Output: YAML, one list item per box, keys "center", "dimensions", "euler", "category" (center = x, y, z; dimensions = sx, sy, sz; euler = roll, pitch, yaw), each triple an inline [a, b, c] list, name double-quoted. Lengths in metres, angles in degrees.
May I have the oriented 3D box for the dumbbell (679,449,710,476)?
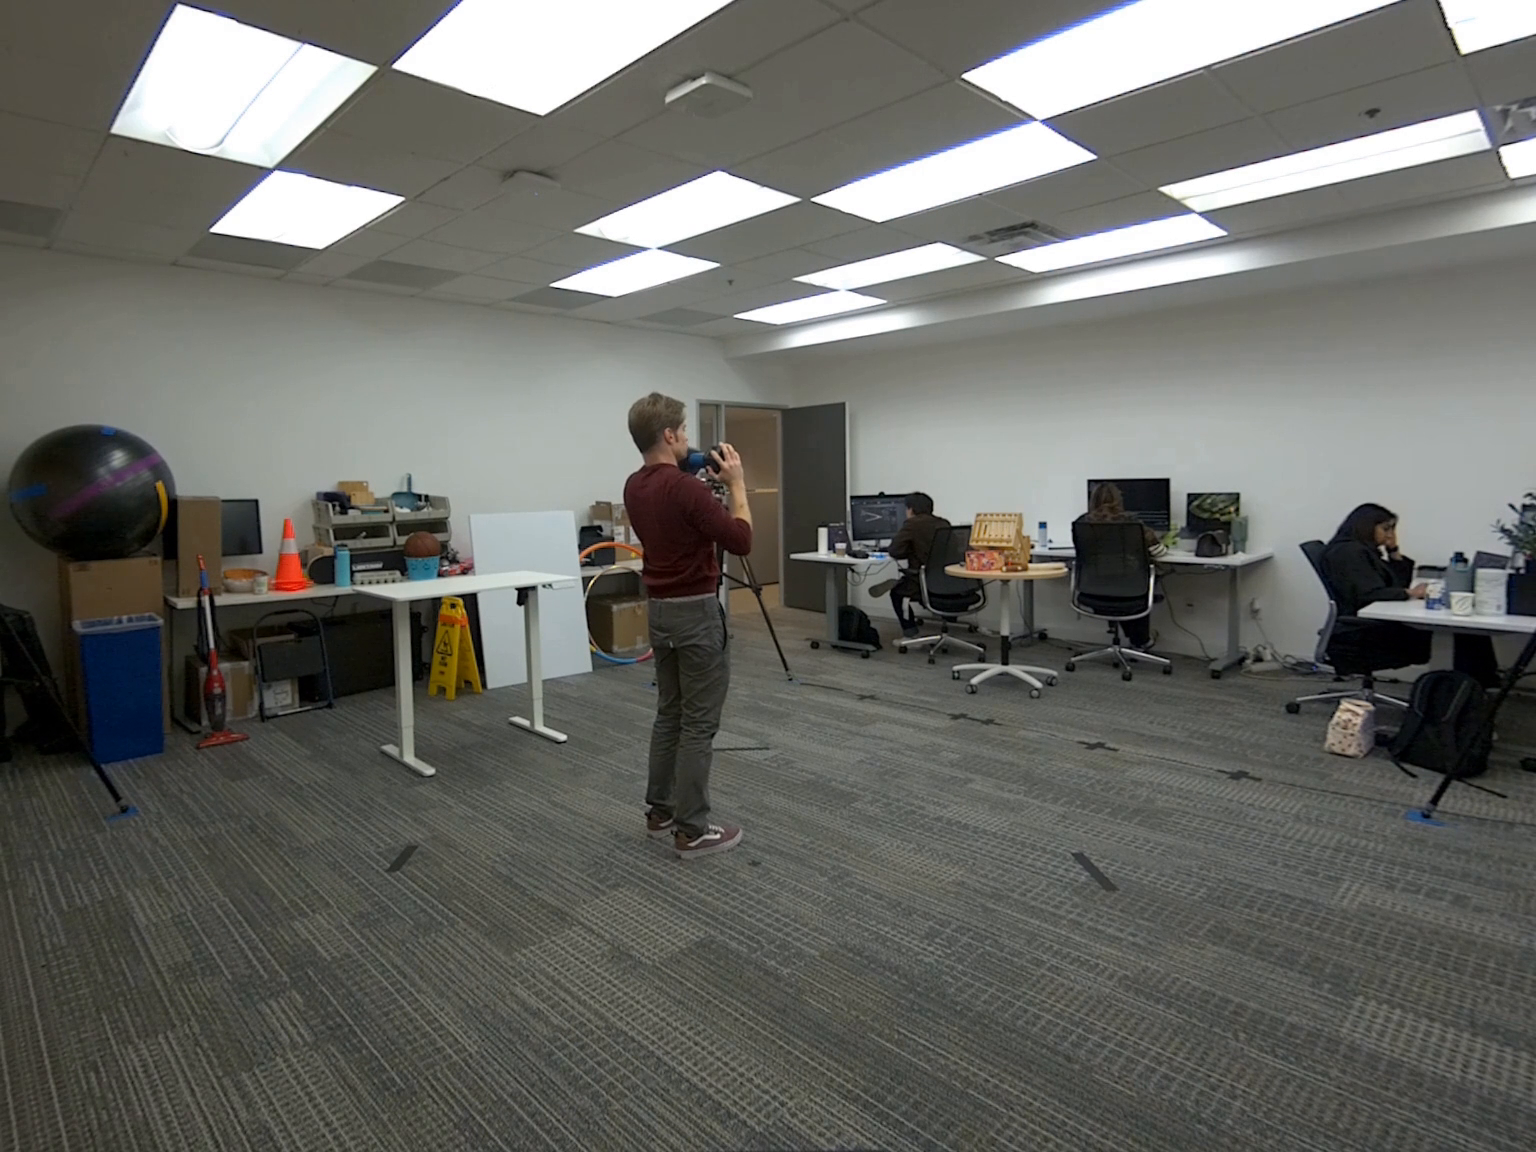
- center: [-0.246, -0.446, 3.290]
  dimensions: [0.108, 0.120, 0.303]
  euler: [-32, 26, -30]
  category: "dumbbell"
